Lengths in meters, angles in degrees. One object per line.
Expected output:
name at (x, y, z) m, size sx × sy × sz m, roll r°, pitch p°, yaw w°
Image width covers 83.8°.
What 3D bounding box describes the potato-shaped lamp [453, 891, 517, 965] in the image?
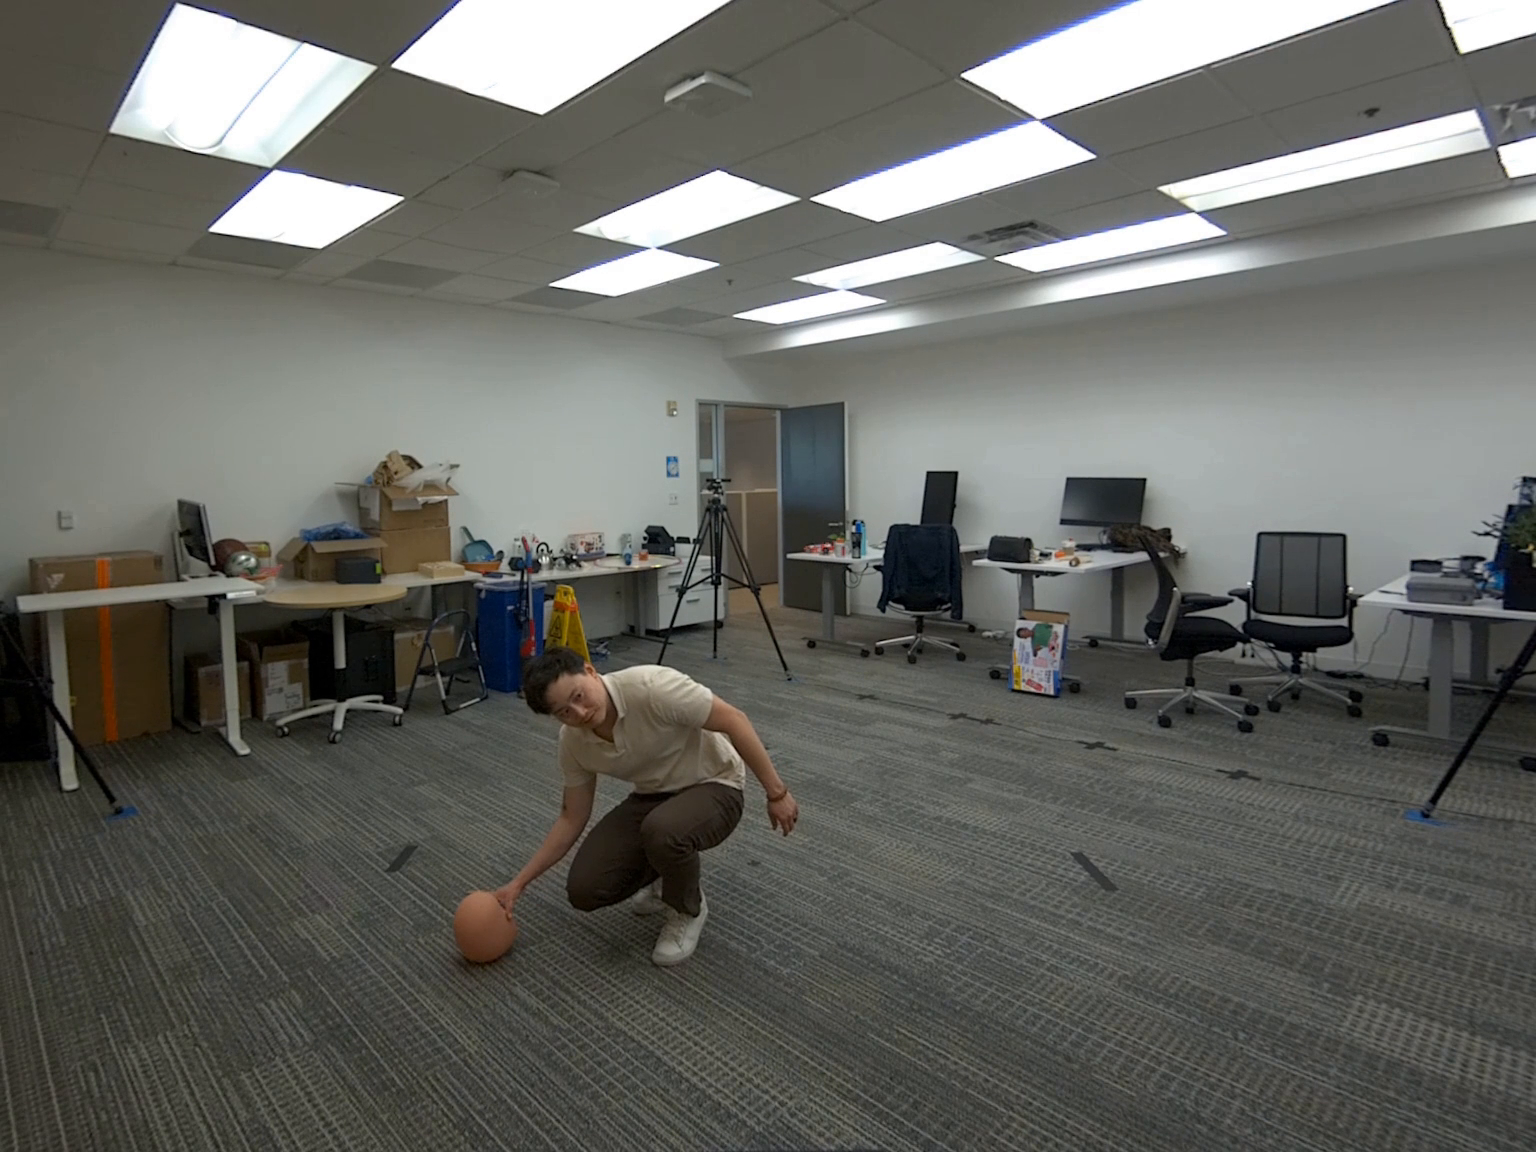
potato-shaped lamp at (-0.834, 1.028, 2.512) m, size 0.166 × 0.193 × 0.174 m, roll -8°, pitch 23°, yaw 9°
